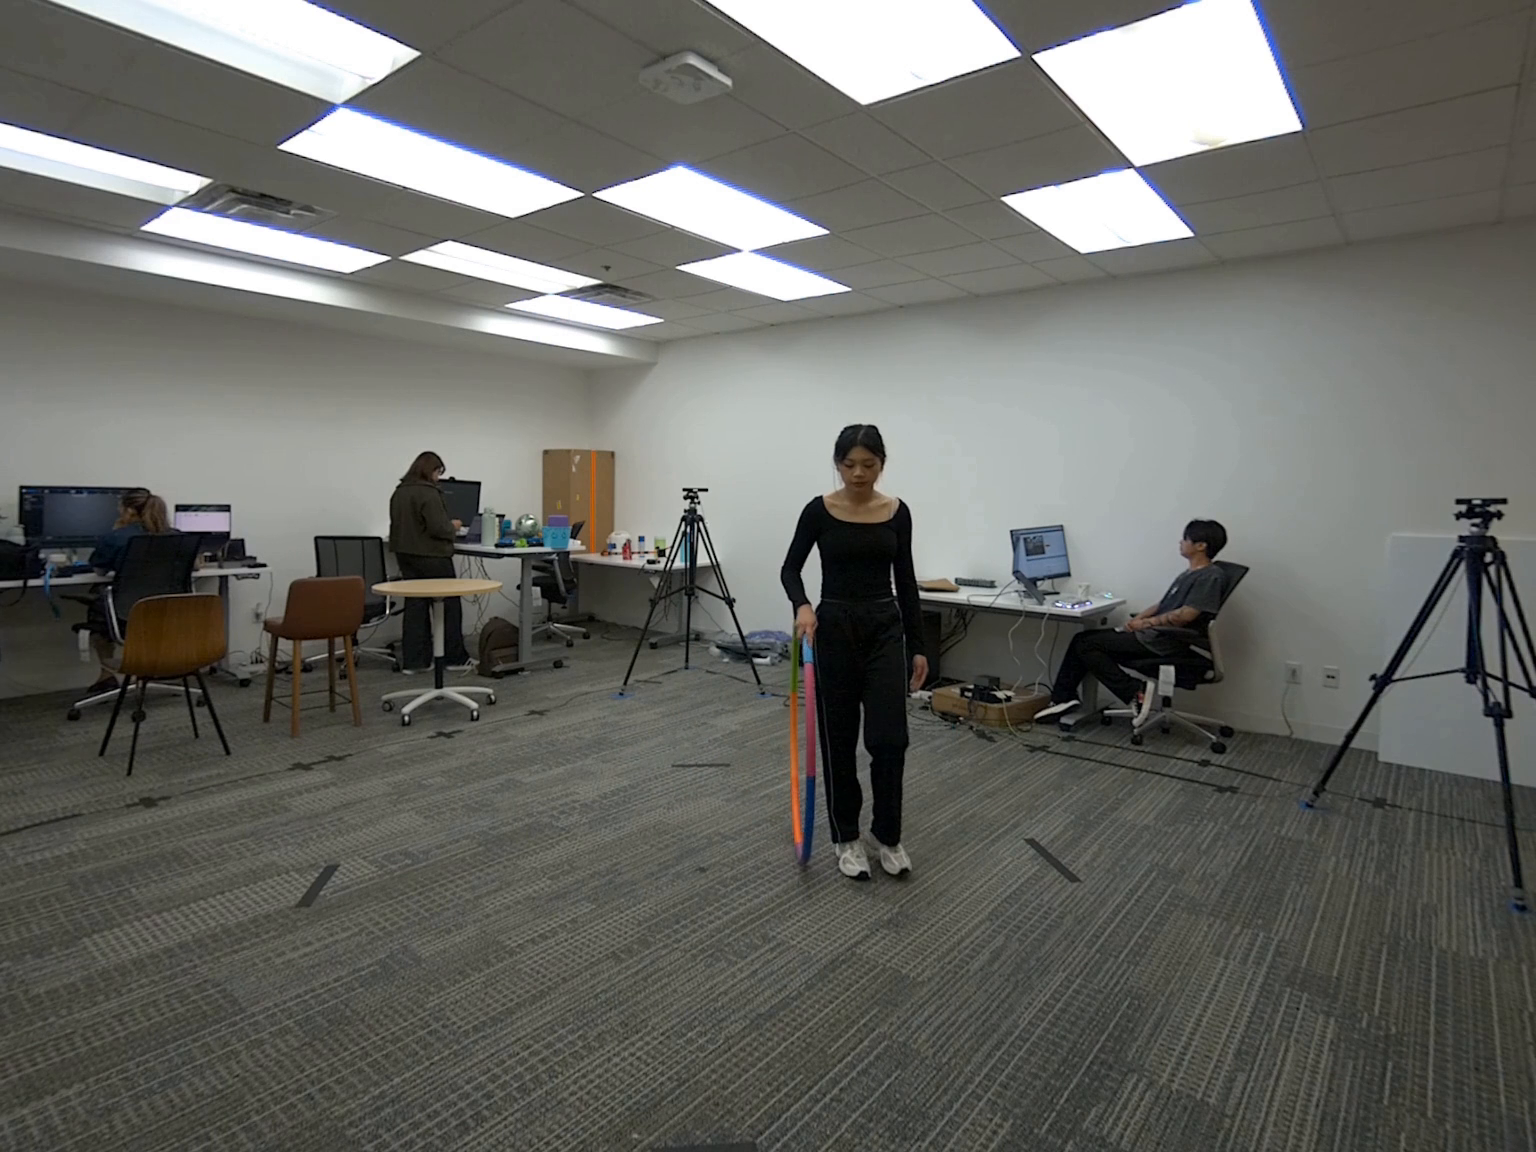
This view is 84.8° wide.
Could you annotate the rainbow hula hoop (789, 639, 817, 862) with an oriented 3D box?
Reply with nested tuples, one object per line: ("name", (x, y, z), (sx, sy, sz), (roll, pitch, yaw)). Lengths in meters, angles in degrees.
("rainbow hula hoop", (0.120, 0.577, 3.247), (0.035, 0.976, 0.981), (-1, 4, -1))
